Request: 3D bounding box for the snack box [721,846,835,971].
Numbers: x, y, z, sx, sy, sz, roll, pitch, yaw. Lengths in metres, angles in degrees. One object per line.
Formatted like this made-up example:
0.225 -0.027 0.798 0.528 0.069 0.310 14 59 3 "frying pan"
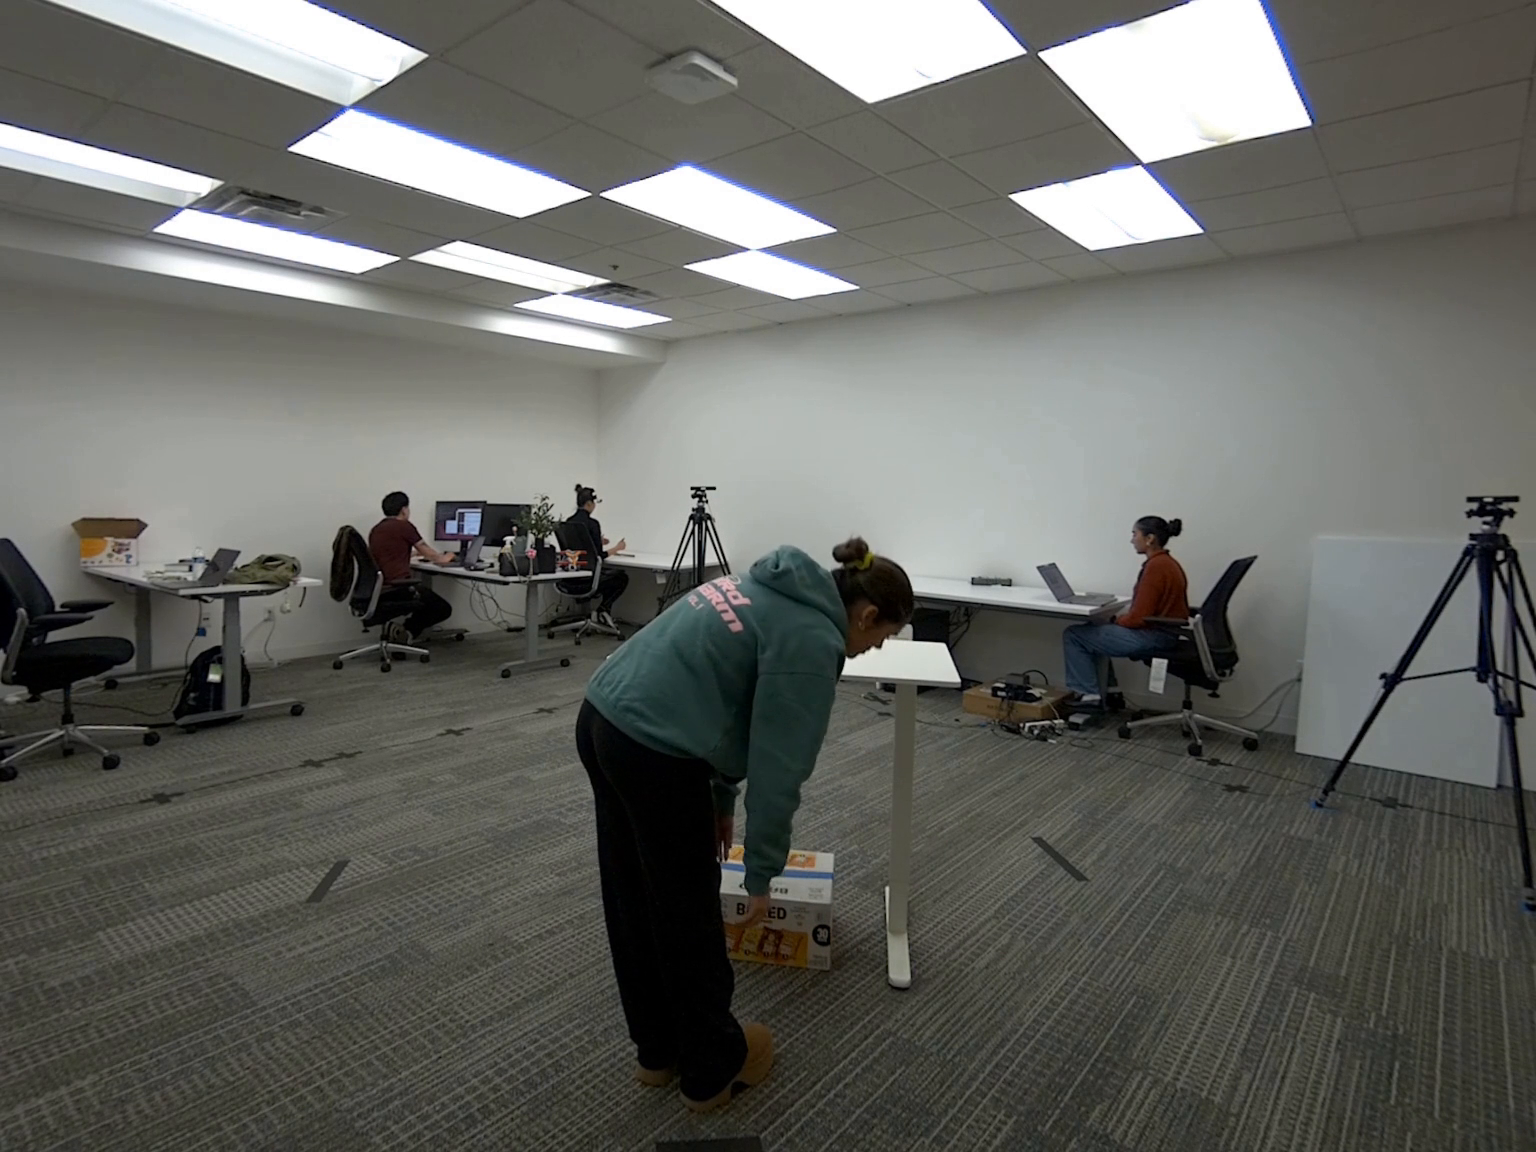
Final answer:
-0.009 1.013 2.641 0.409 0.205 0.338 2 5 7 "snack box"
